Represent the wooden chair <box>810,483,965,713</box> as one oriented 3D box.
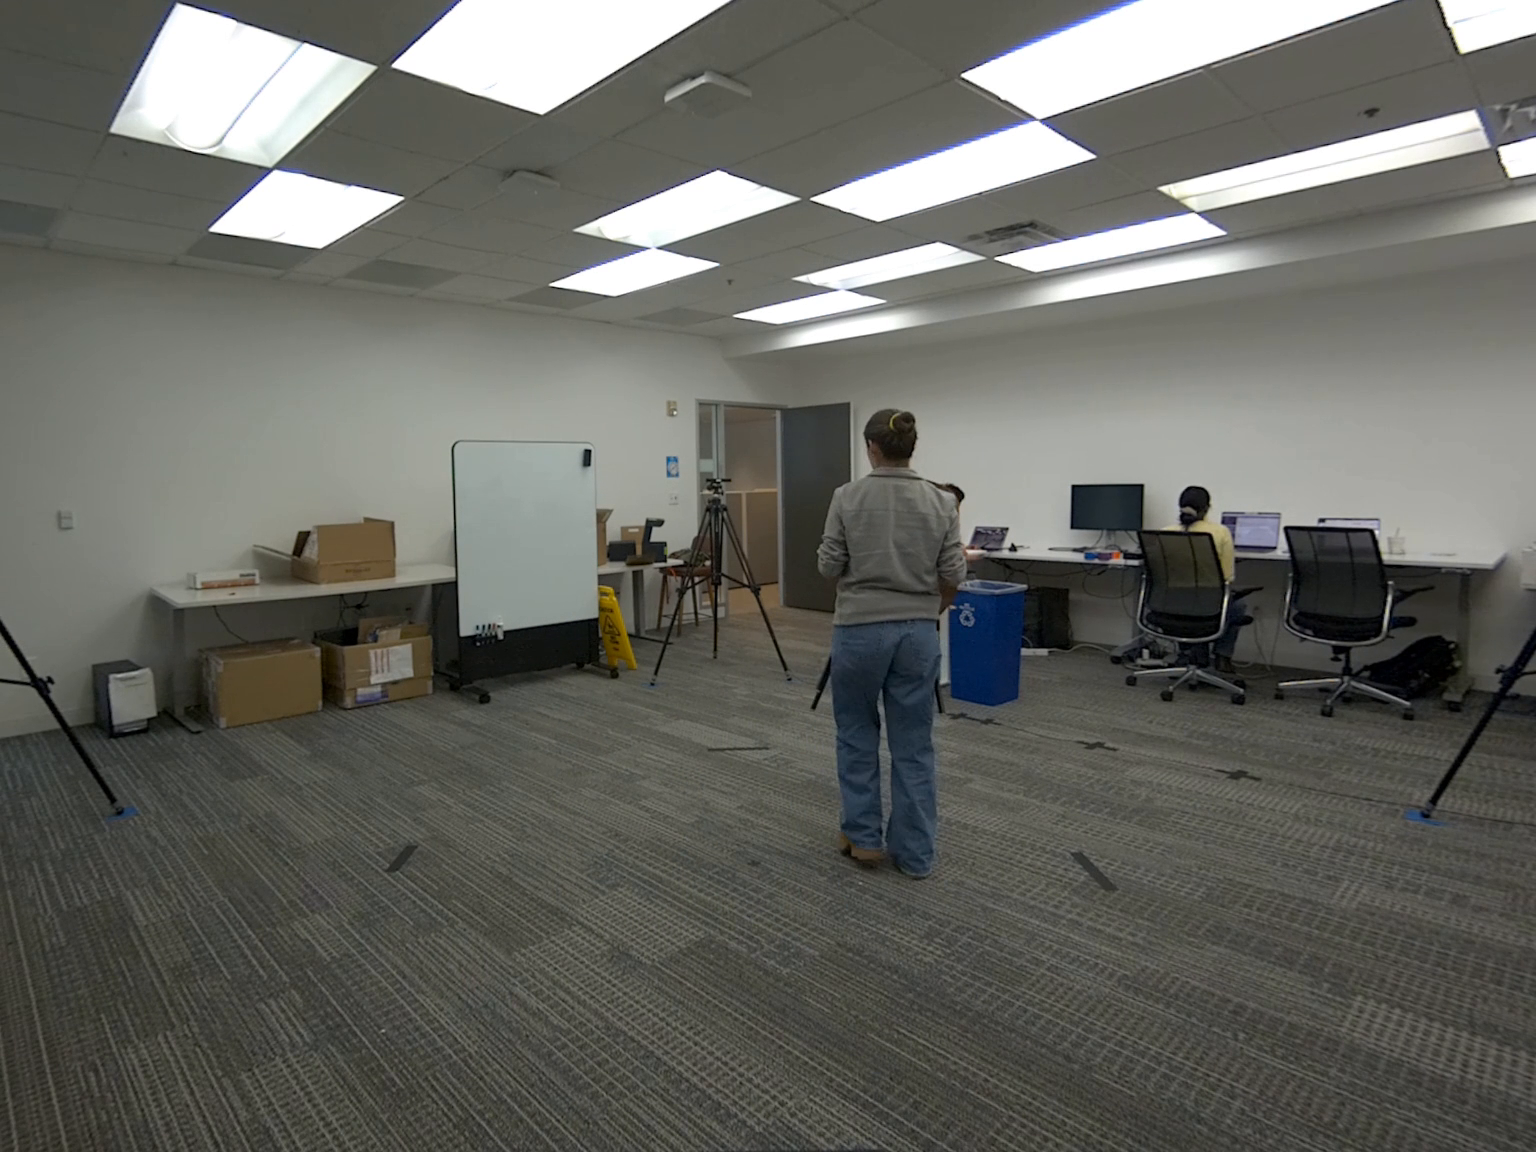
[{"bbox_3d":[0.471,0.117,3.320,0.482,0.887,0.513,8,-15,6],"label":"wooden chair"}]
